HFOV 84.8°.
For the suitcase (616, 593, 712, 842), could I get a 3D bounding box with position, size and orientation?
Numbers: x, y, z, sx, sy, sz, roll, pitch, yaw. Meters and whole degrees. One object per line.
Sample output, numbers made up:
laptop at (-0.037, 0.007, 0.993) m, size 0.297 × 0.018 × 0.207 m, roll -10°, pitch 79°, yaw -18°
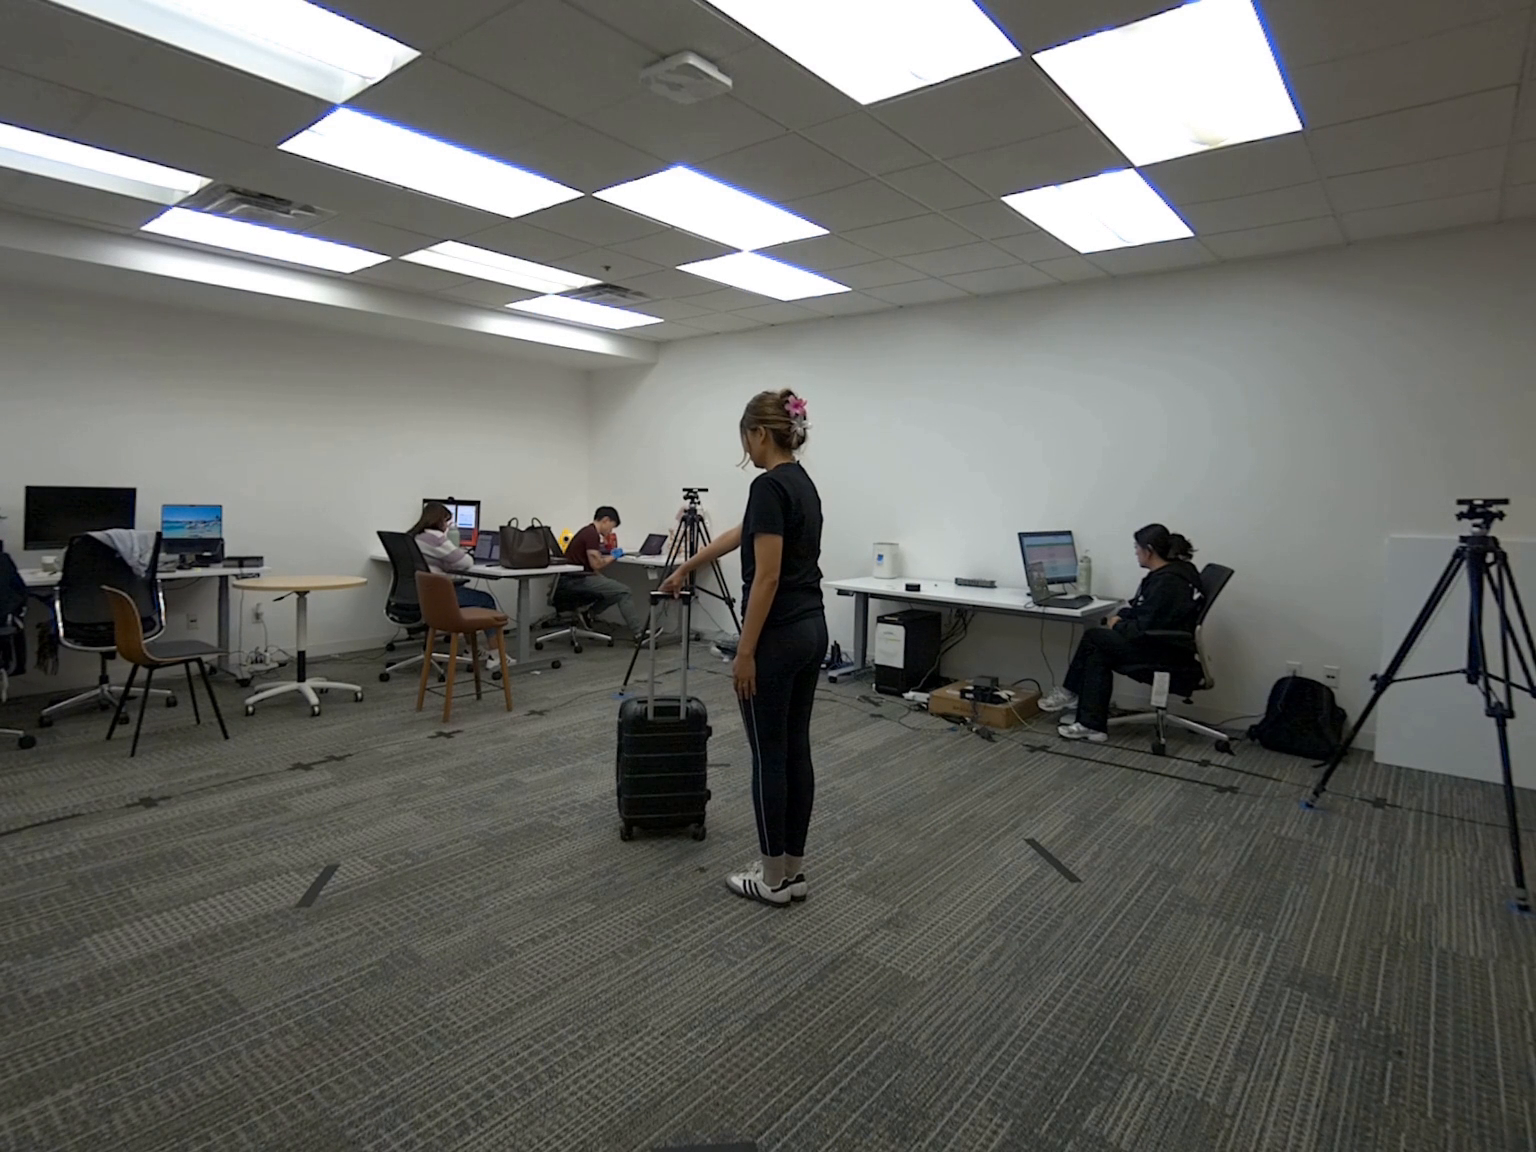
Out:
suitcase at (-0.437, 0.557, 3.458) m, size 0.380 × 0.977 × 0.260 m, roll 1°, pitch 2°, yaw -9°
